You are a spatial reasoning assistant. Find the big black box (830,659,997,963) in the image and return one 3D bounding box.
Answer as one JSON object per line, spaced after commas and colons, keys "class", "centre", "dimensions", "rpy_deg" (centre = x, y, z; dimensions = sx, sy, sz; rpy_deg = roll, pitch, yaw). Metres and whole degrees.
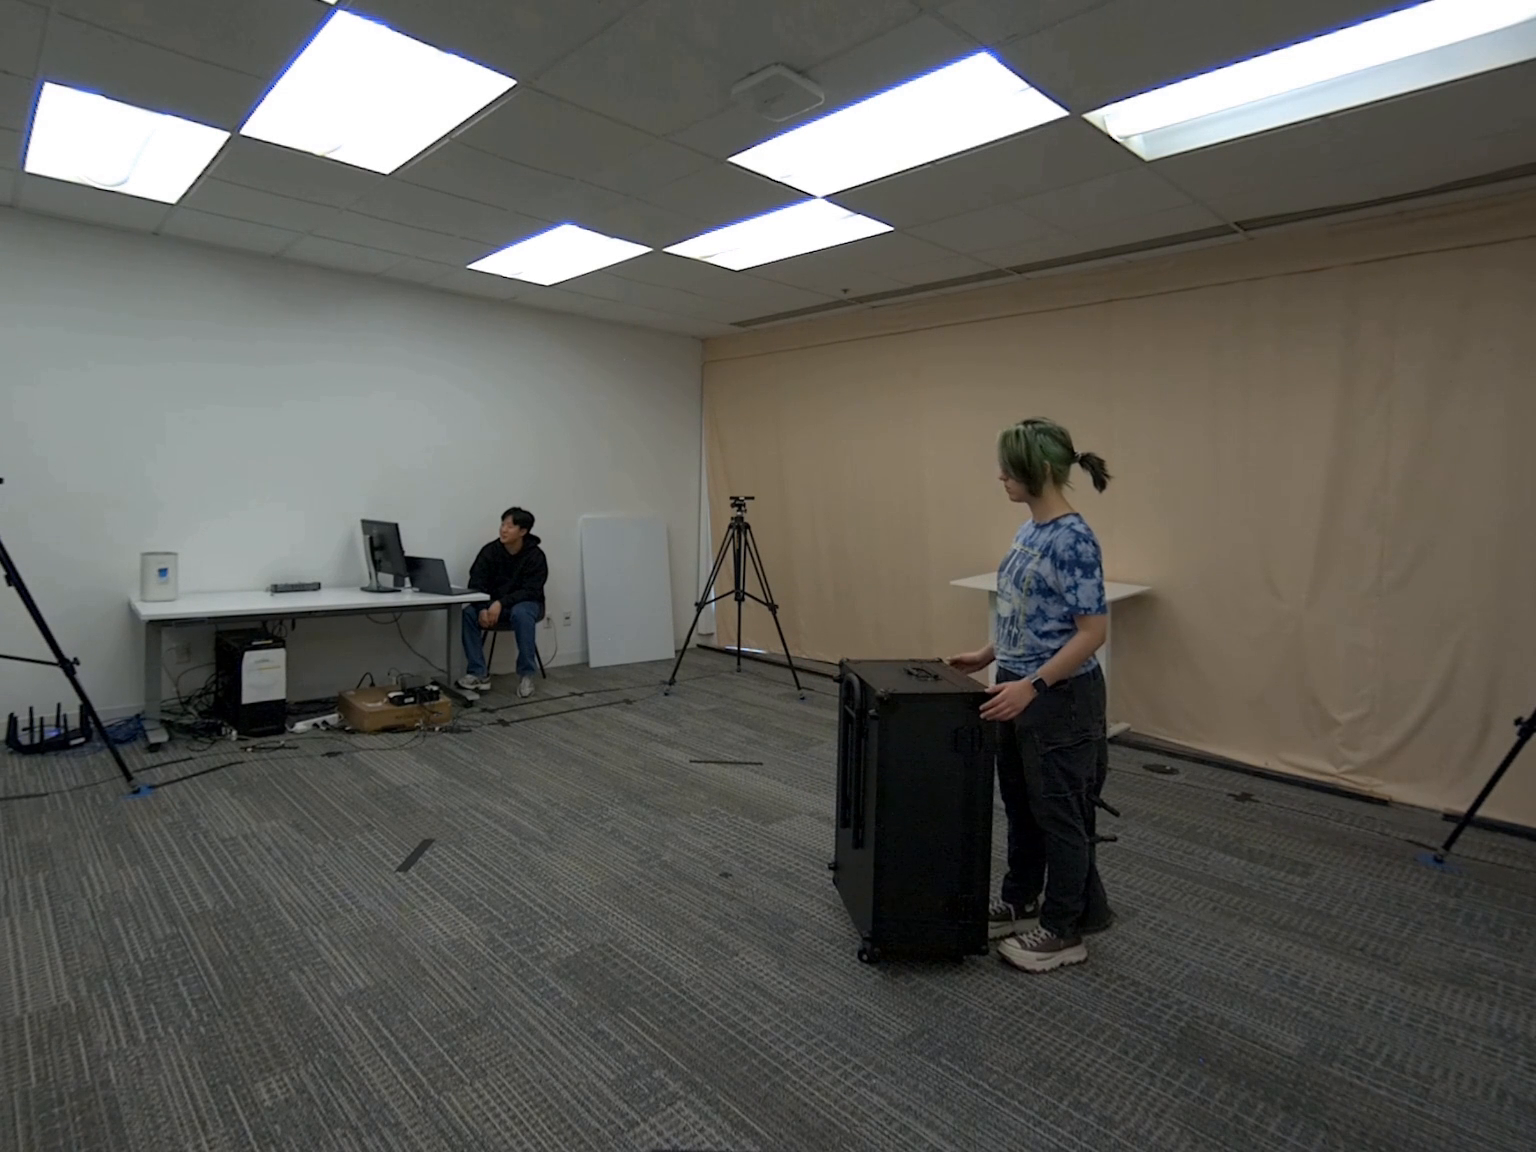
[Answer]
{"class": "big black box", "centre": [0.433, 0.733, 2.656], "dimensions": [0.394, 0.859, 0.525], "rpy_deg": [0, 4, -7]}
